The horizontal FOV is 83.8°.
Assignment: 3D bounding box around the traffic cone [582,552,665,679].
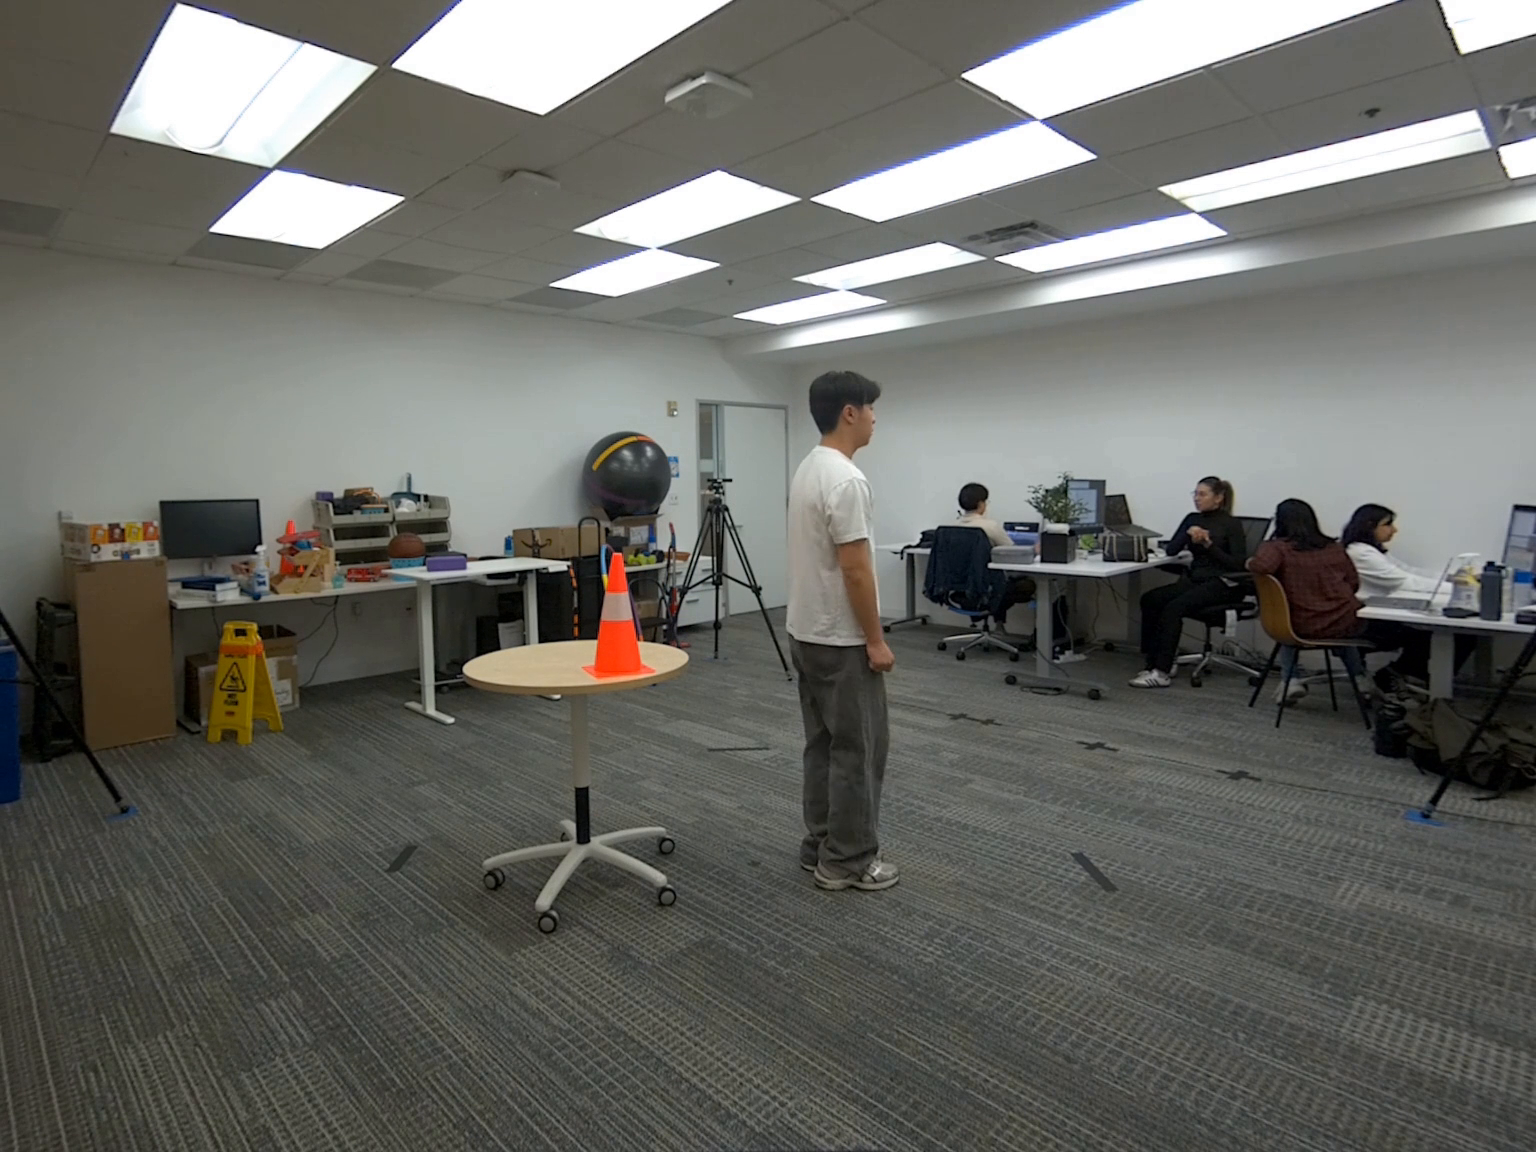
[{"bbox_3d":[-0.476,0.117,2.791,0.198,0.383,0.210,-1,1,-29],"label":"traffic cone"}]
